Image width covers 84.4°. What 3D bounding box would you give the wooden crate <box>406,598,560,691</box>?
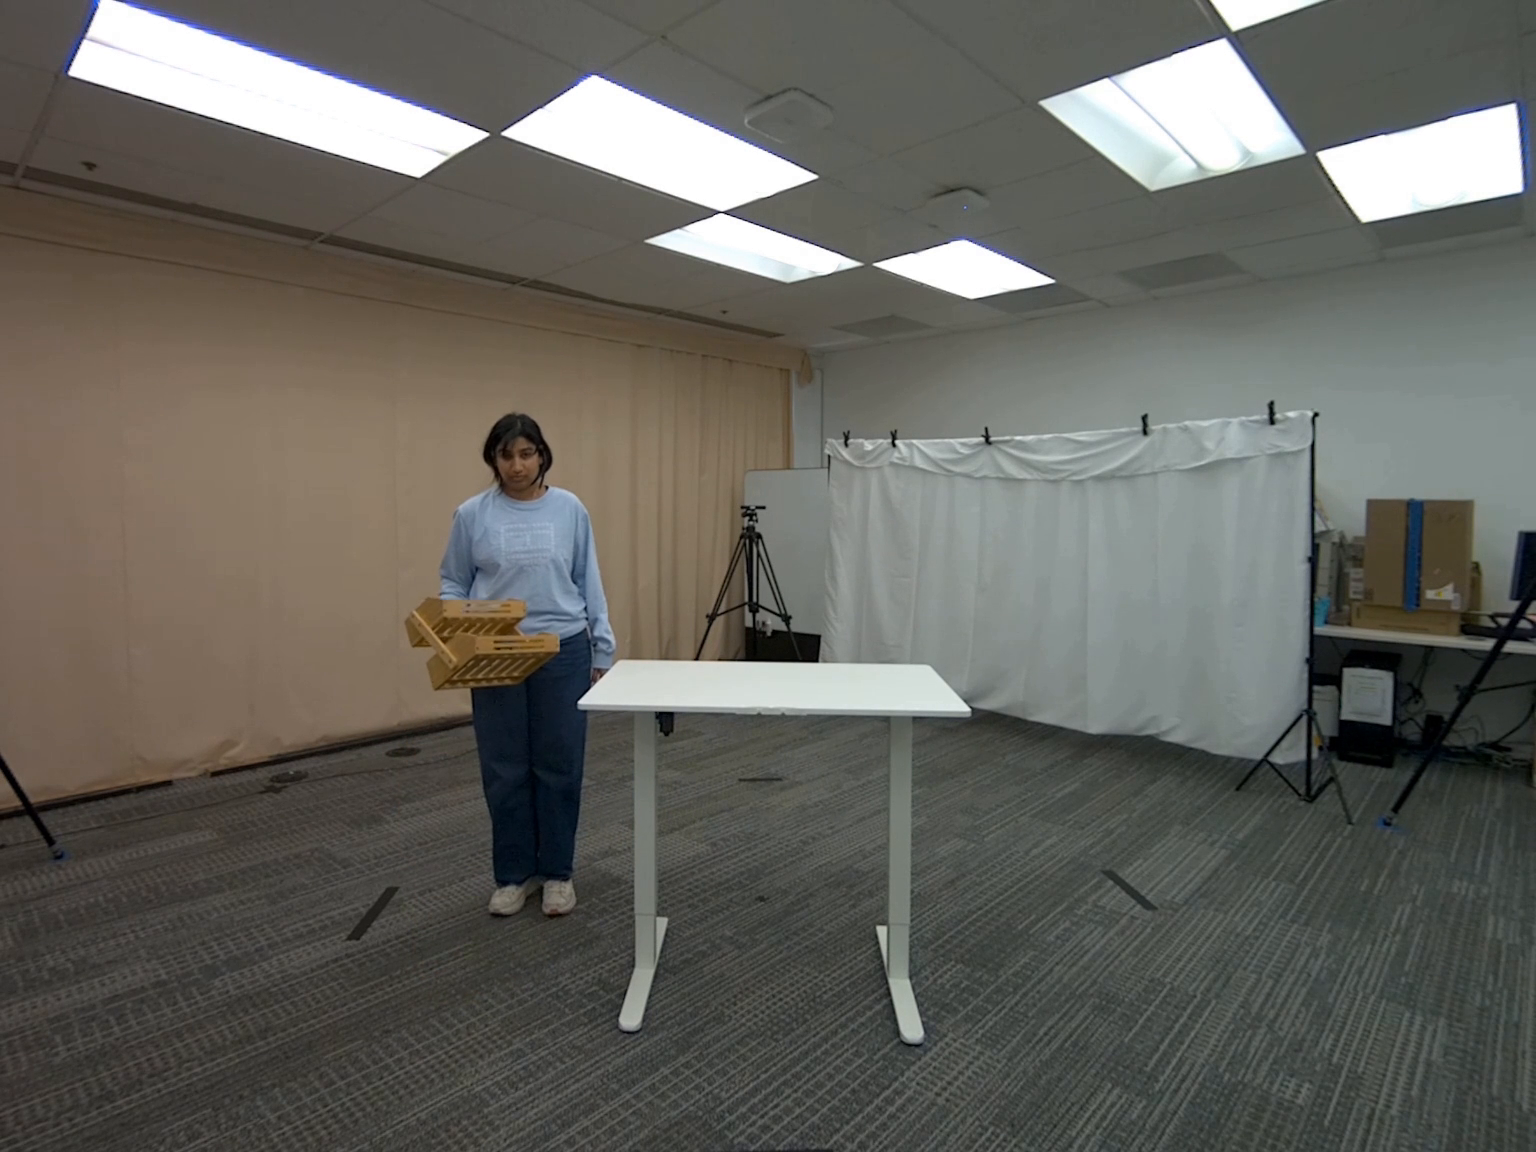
[{"bbox_3d":[-0.867,0.173,2.564,0.306,0.279,0.314,-37,-24,30],"label":"wooden crate"}]
